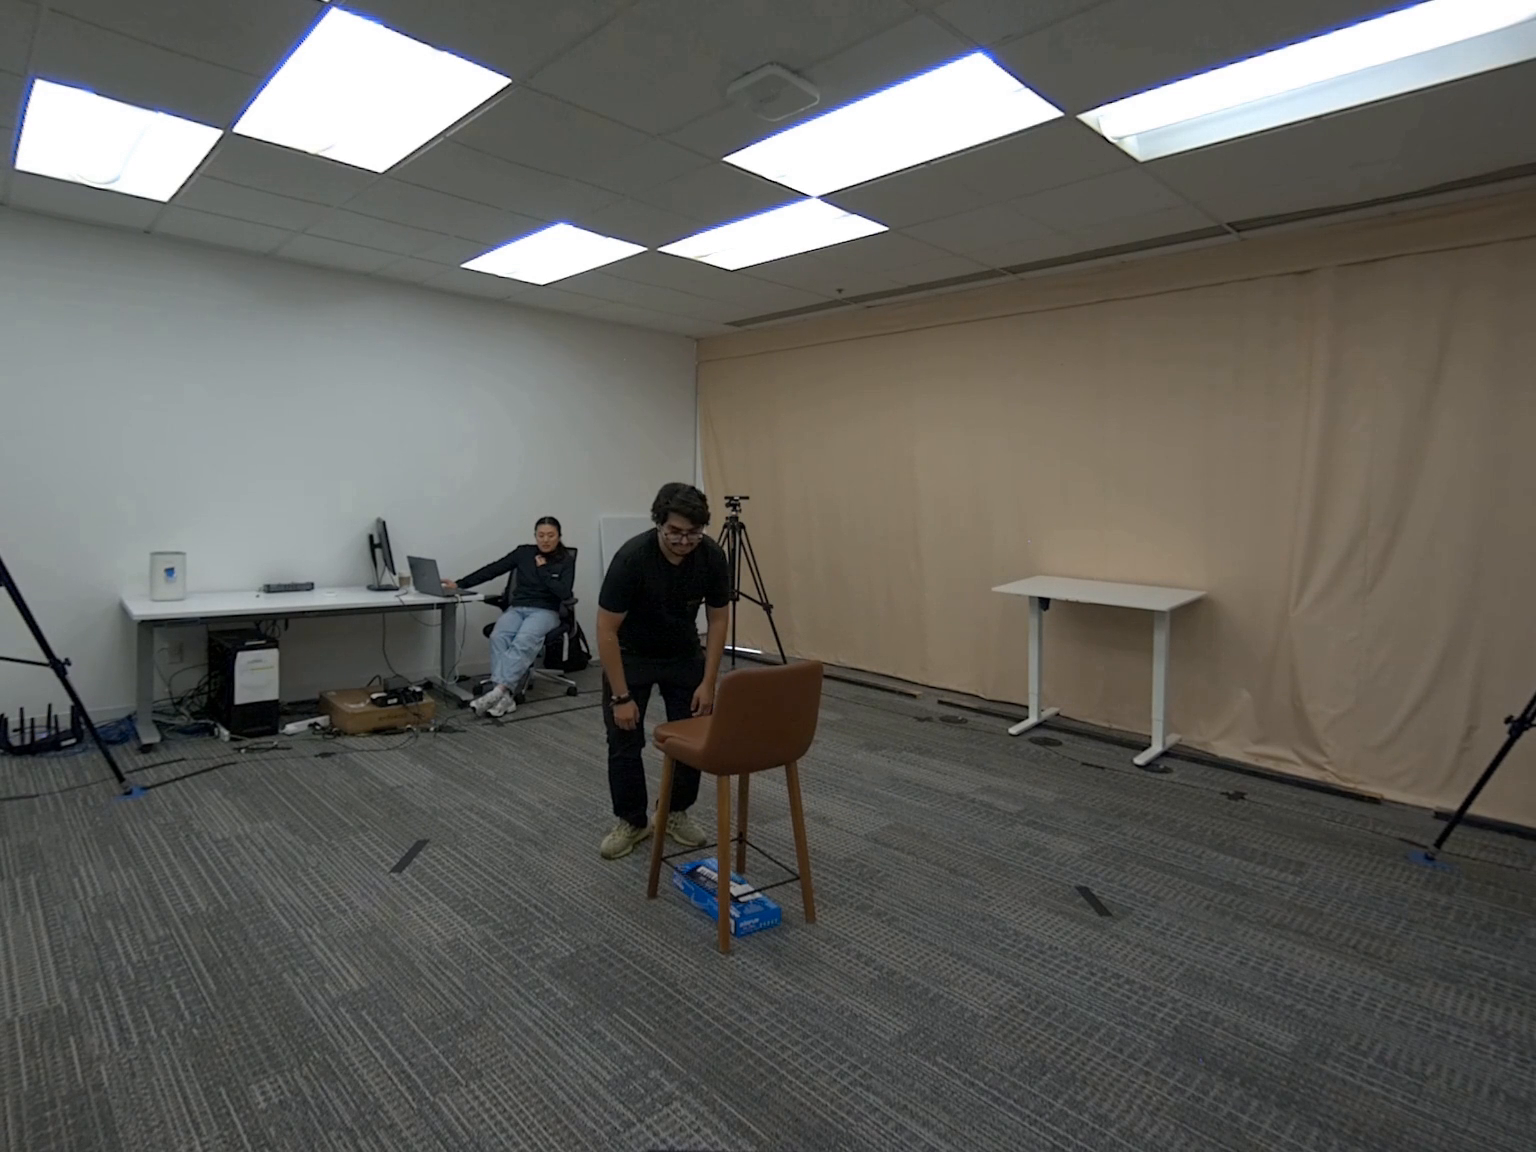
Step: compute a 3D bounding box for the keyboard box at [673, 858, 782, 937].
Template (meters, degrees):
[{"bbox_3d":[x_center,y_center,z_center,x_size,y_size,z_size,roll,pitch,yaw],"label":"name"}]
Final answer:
[{"bbox_3d":[-0.153,1.097,2.884,0.172,0.059,0.447,-3,7,-33],"label":"keyboard box"}]
